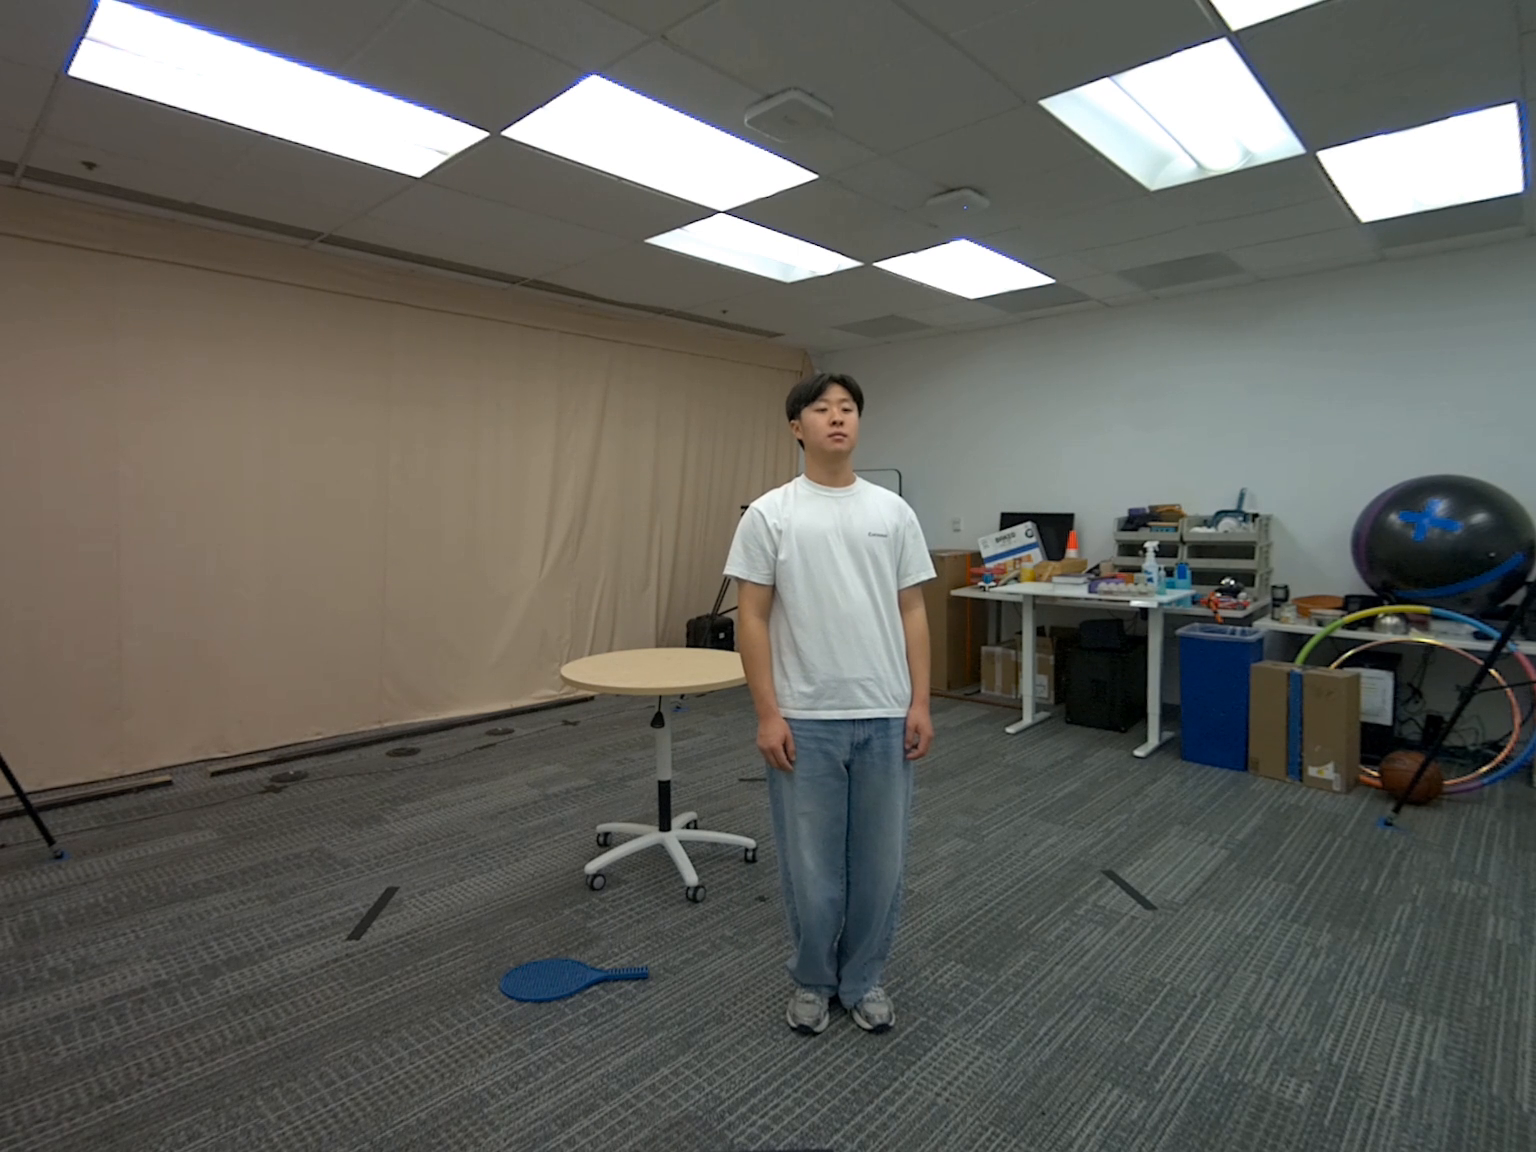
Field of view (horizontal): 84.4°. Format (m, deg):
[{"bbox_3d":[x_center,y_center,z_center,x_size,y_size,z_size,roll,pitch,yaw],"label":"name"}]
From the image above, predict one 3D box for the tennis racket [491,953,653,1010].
[{"bbox_3d":[-0.563,1.177,2.469,0.432,0.032,0.214,-2,4,-2],"label":"tennis racket"}]
